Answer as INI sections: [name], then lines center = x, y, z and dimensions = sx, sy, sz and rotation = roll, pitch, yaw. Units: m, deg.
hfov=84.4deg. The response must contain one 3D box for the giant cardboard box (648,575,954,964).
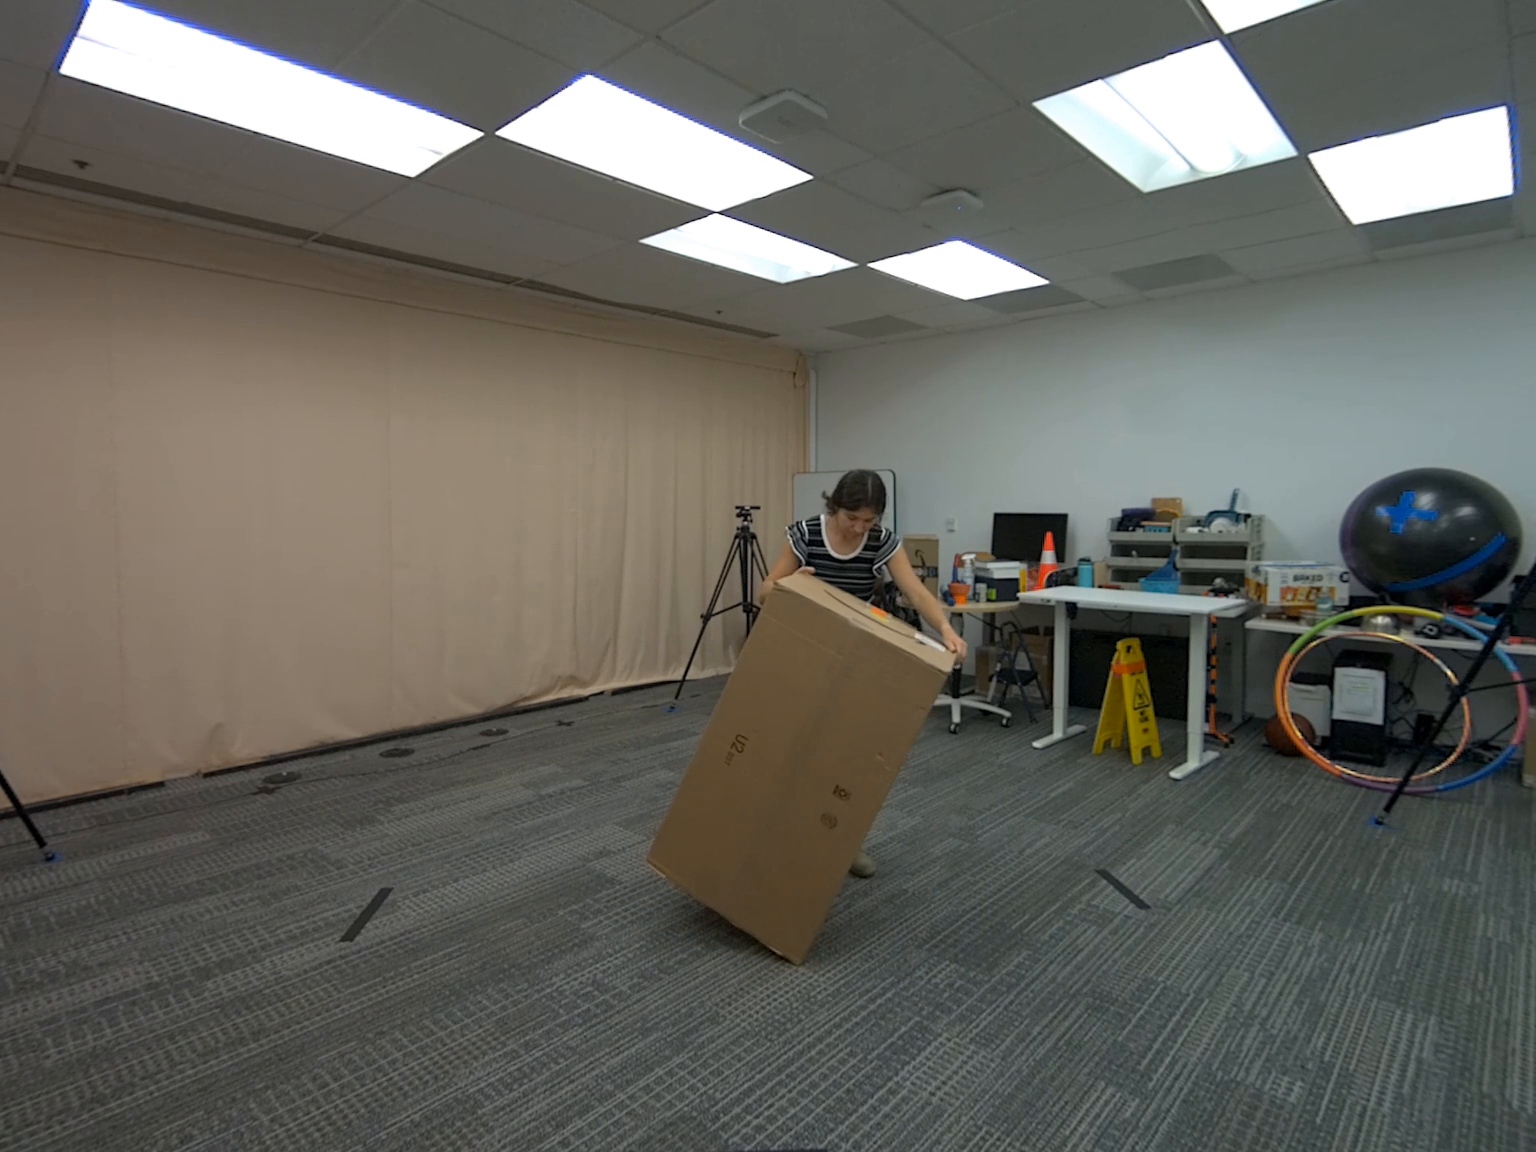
[giant cardboard box]
center = 0.116, 0.587, 2.738
dimensions = 0.589, 1.024, 0.418
rotation = 28, 10, 15
